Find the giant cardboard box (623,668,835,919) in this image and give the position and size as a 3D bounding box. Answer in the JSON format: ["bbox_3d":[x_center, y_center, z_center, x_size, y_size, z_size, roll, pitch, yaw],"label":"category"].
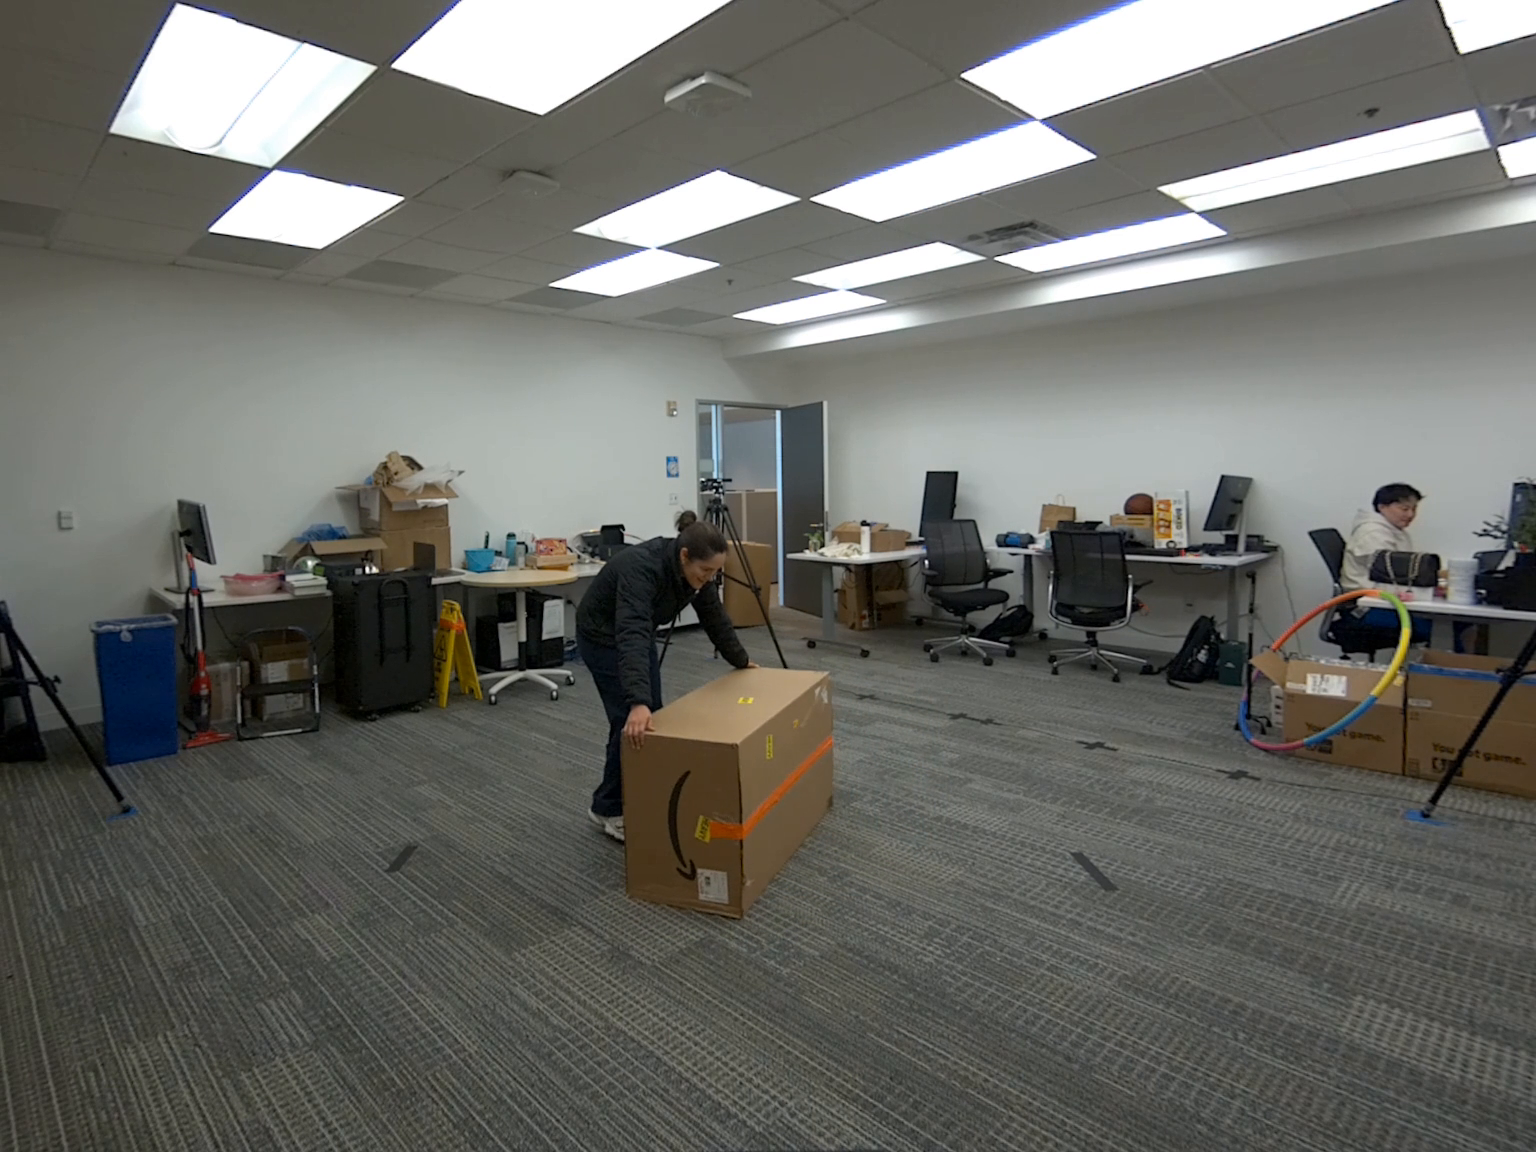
[{"bbox_3d":[-0.107,0.743,3.238,0.456,0.581,1.011,1,6,21],"label":"giant cardboard box"}]
